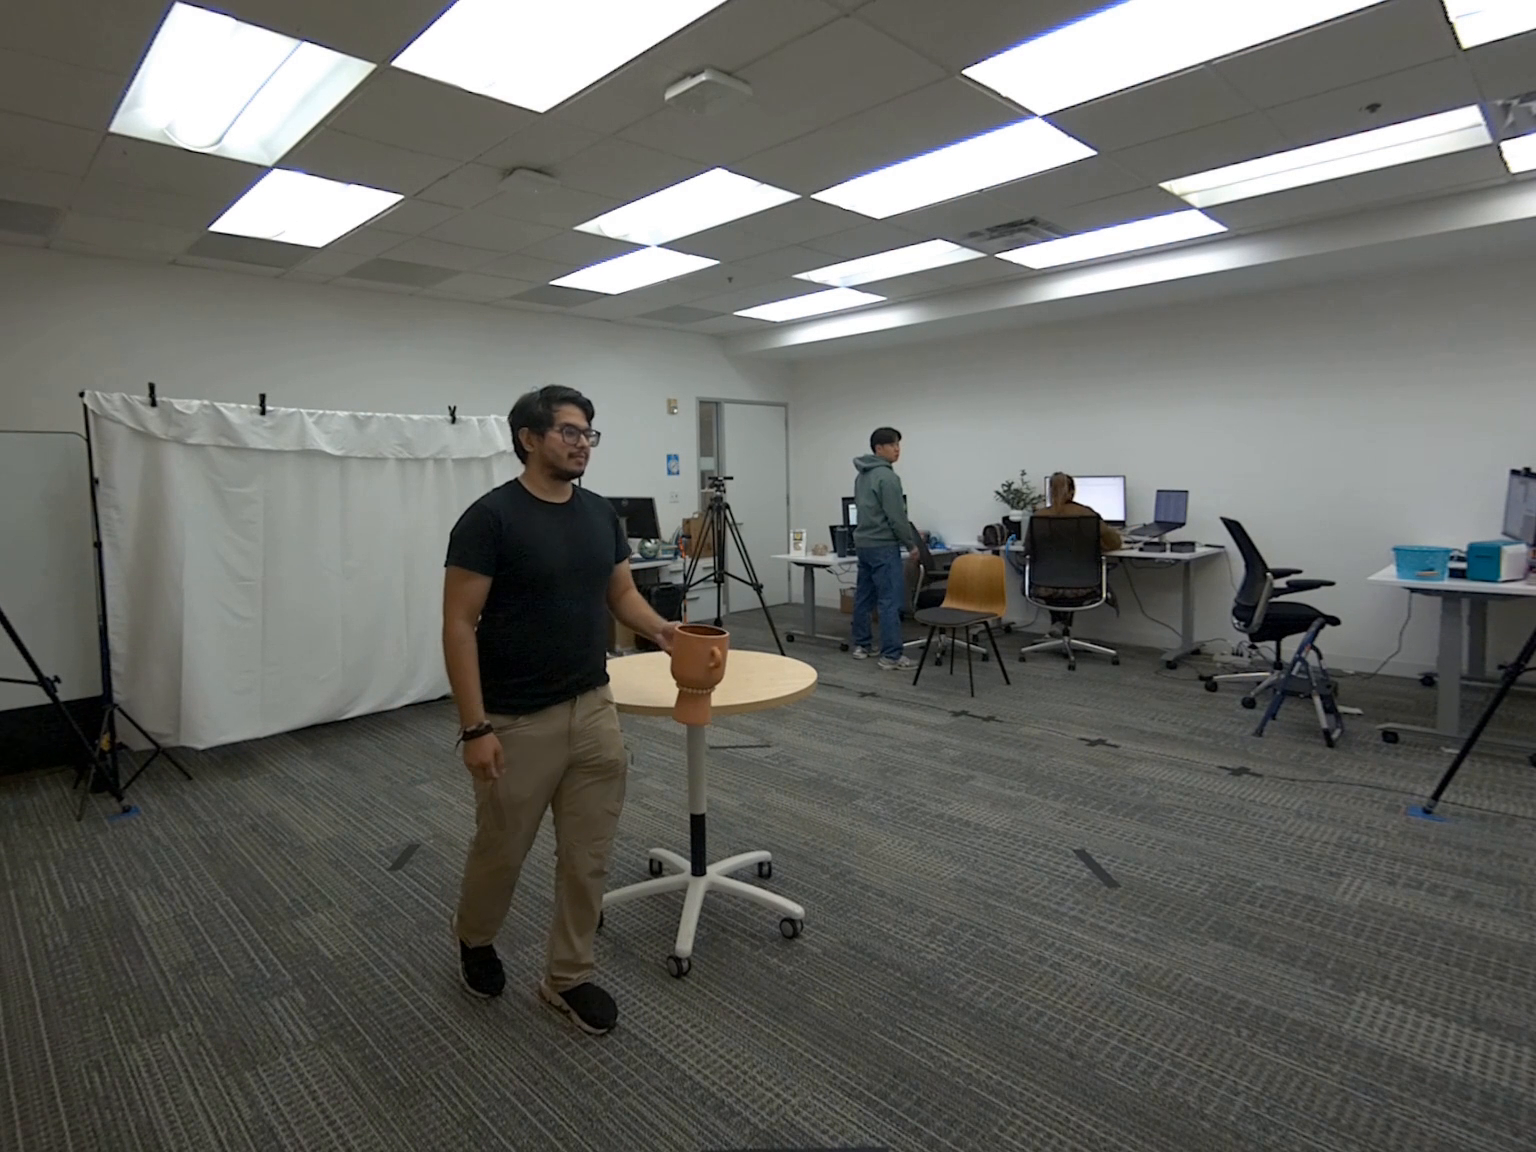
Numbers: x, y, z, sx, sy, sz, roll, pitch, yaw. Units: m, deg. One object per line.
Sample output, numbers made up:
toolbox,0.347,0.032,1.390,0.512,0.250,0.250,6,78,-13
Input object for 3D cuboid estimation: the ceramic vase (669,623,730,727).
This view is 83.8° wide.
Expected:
ceramic vase,-0.170,0.236,2.045,0.136,0.219,0.158,7,5,6
